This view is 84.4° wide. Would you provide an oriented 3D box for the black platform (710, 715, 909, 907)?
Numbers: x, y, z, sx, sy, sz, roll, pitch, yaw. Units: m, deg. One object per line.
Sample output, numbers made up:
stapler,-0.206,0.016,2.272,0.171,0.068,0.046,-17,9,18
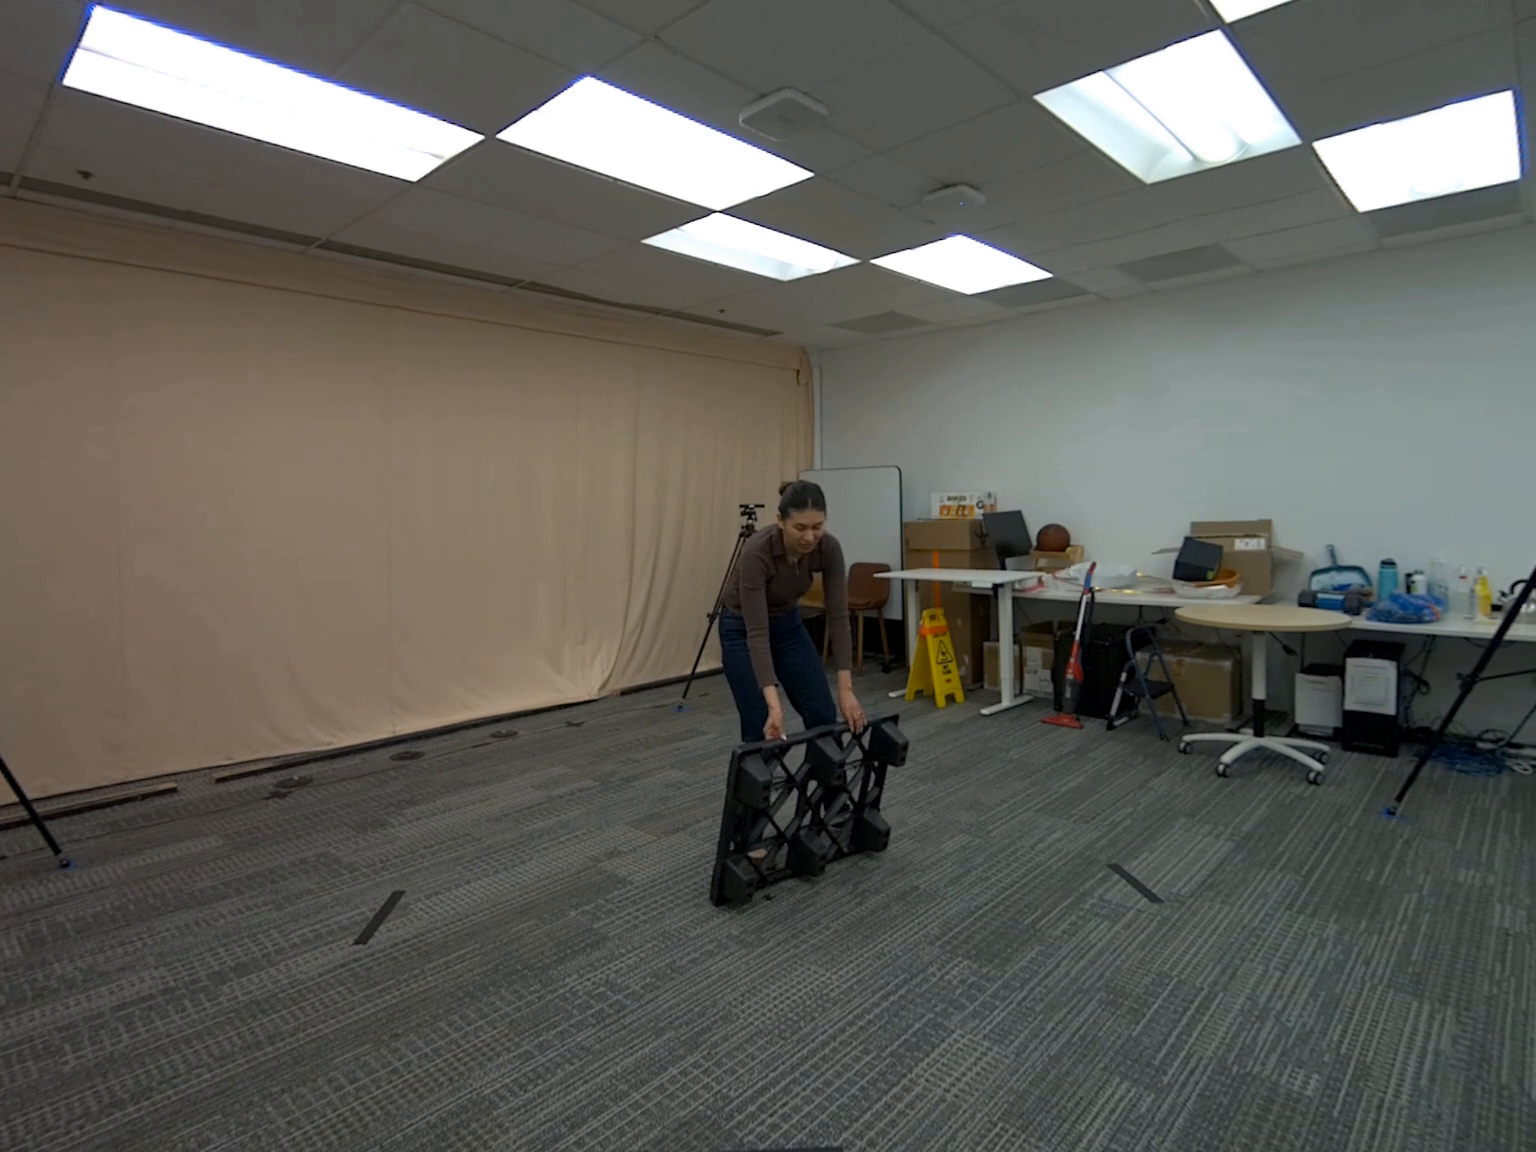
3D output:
black platform,0.176,0.850,3.059,0.782,0.601,0.148,-4,19,-38
